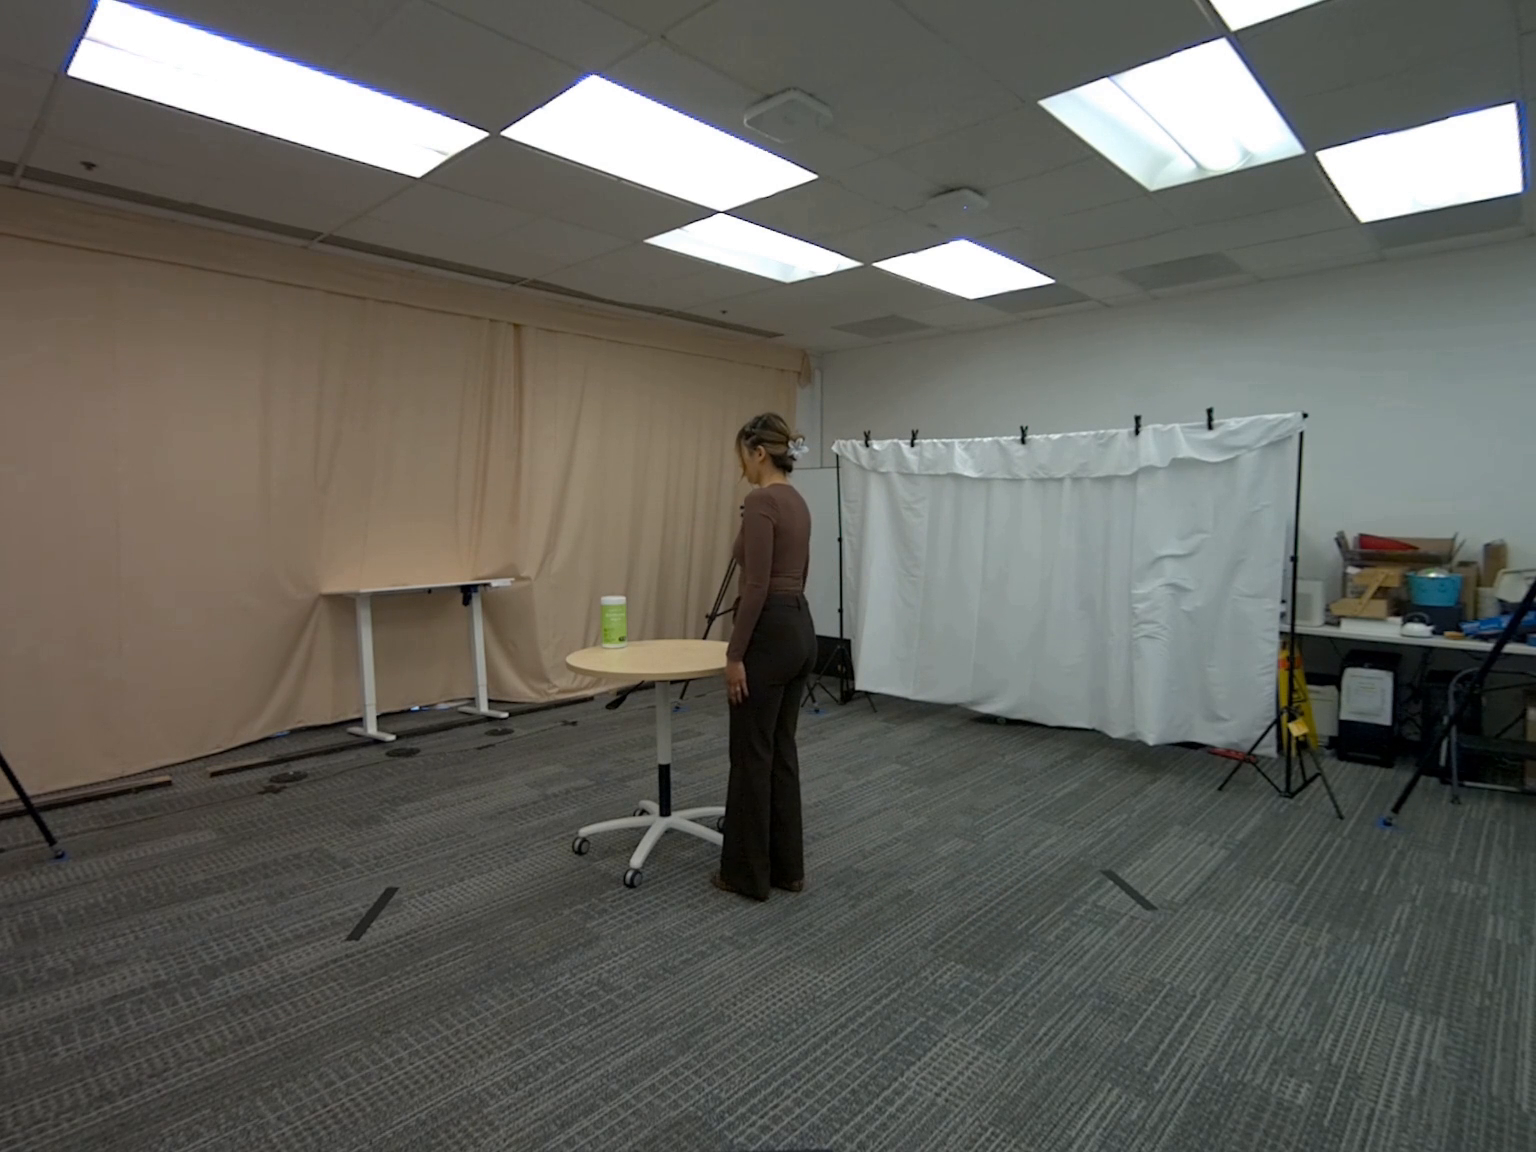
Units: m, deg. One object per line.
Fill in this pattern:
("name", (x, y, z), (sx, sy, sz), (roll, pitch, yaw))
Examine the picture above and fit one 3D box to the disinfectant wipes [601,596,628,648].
("disinfectant wipes", (-0.666, 0.200, 3.604), (0.118, 0.217, 0.118), (-1, 3, -2))
